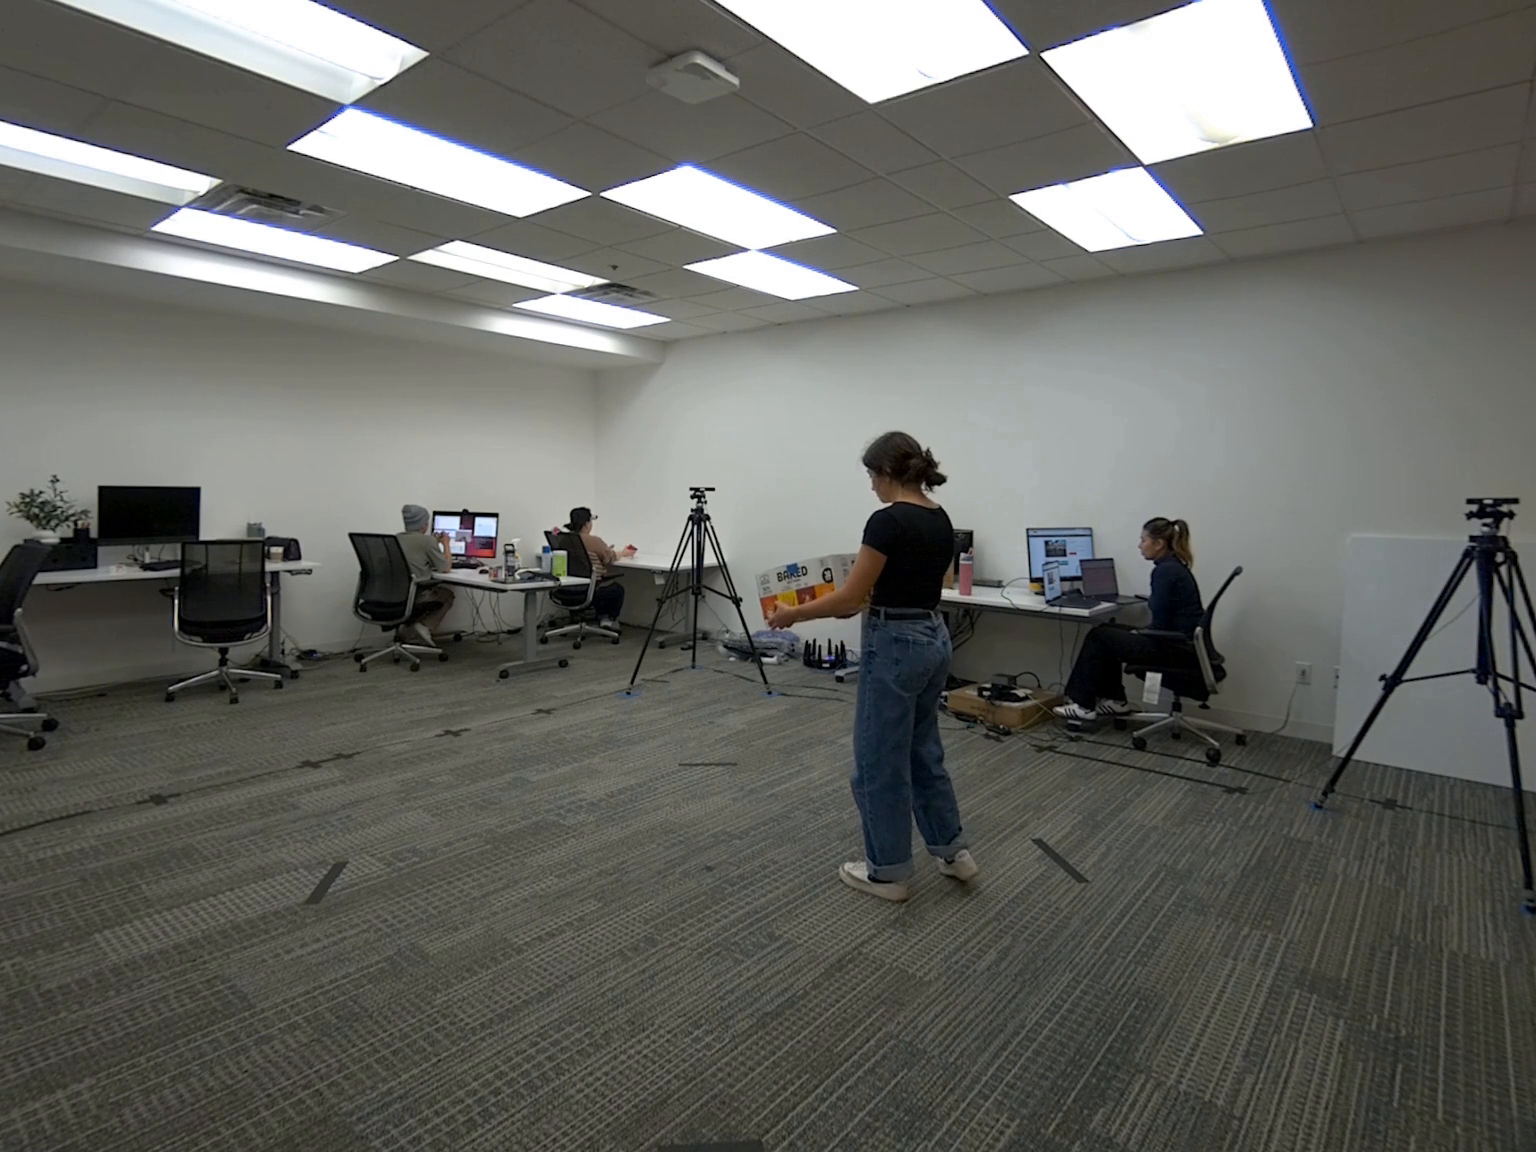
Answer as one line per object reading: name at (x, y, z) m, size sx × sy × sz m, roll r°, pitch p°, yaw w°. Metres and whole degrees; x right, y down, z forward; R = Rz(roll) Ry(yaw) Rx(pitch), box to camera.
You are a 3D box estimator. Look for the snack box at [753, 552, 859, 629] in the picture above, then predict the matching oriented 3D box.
snack box at (0.218, 0.045, 3.129) m, size 0.348 × 0.207 × 0.393 m, roll -15°, pitch -6°, yaw 40°
